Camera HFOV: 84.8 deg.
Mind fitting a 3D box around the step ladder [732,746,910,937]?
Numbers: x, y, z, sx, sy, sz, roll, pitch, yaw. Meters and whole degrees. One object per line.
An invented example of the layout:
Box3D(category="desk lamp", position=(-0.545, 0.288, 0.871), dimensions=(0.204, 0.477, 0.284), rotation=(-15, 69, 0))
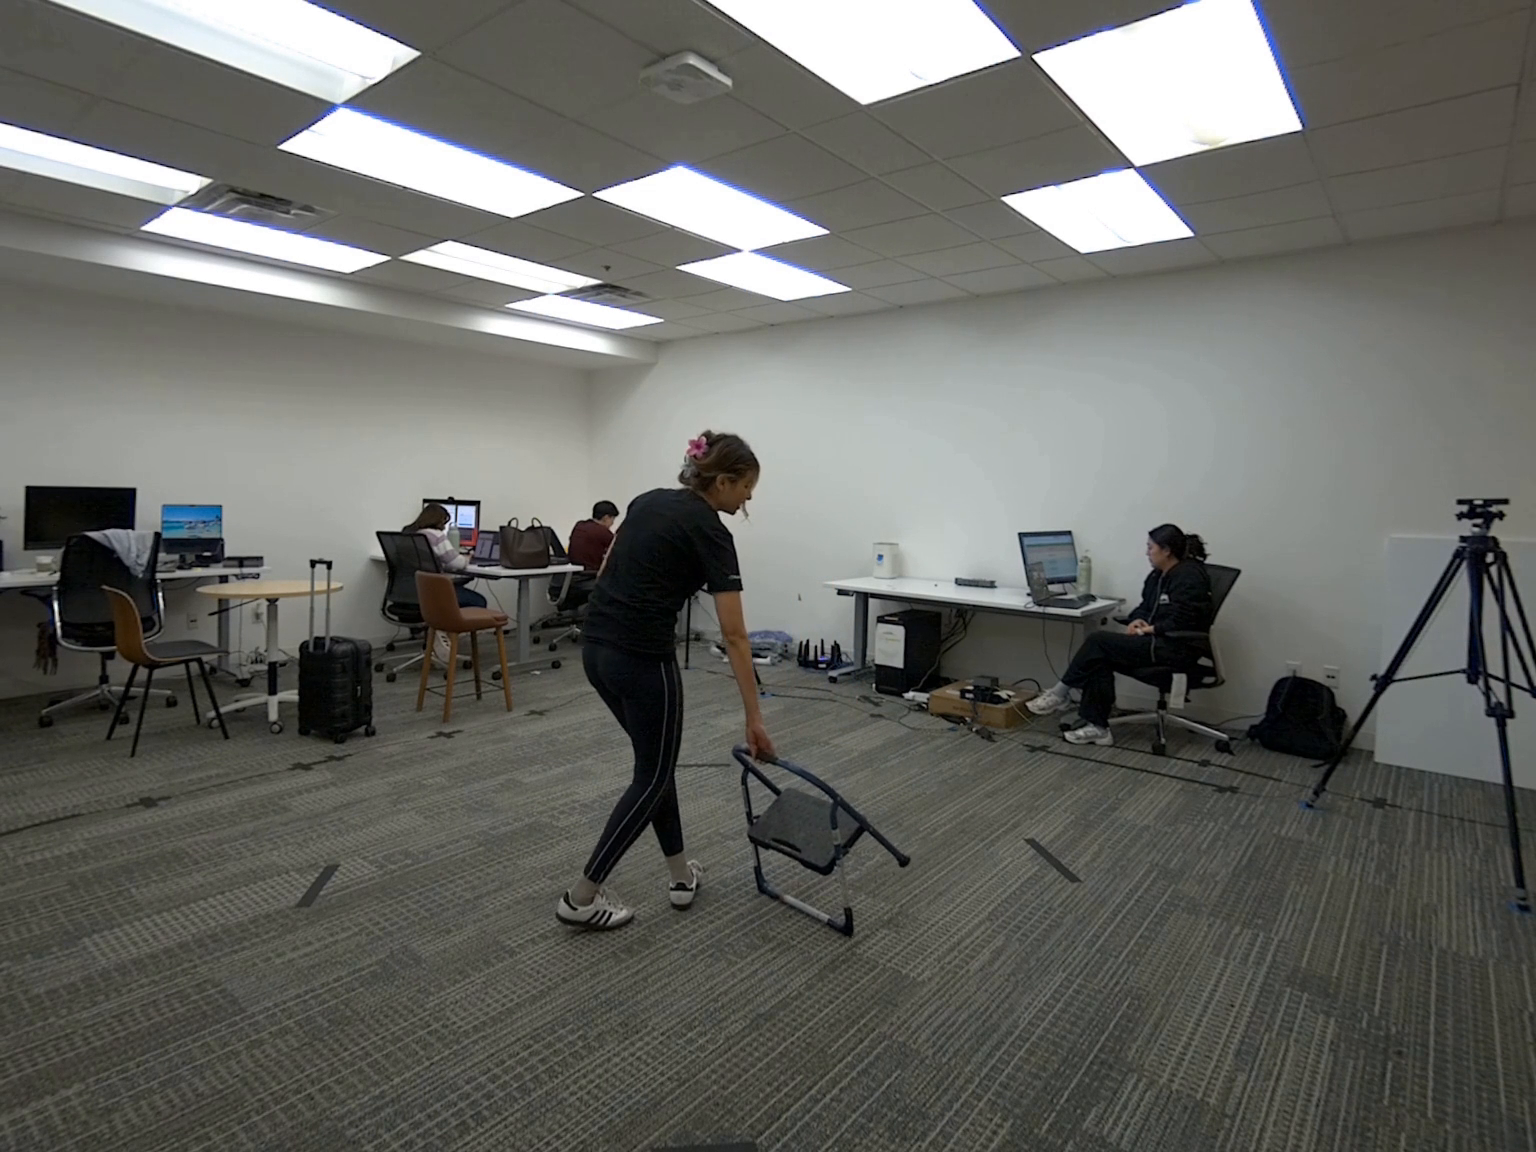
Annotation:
Box3D(category="step ladder", position=(0.113, 0.766, 2.791), dimensions=(0.445, 0.590, 0.347), rotation=(4, 34, 45))
